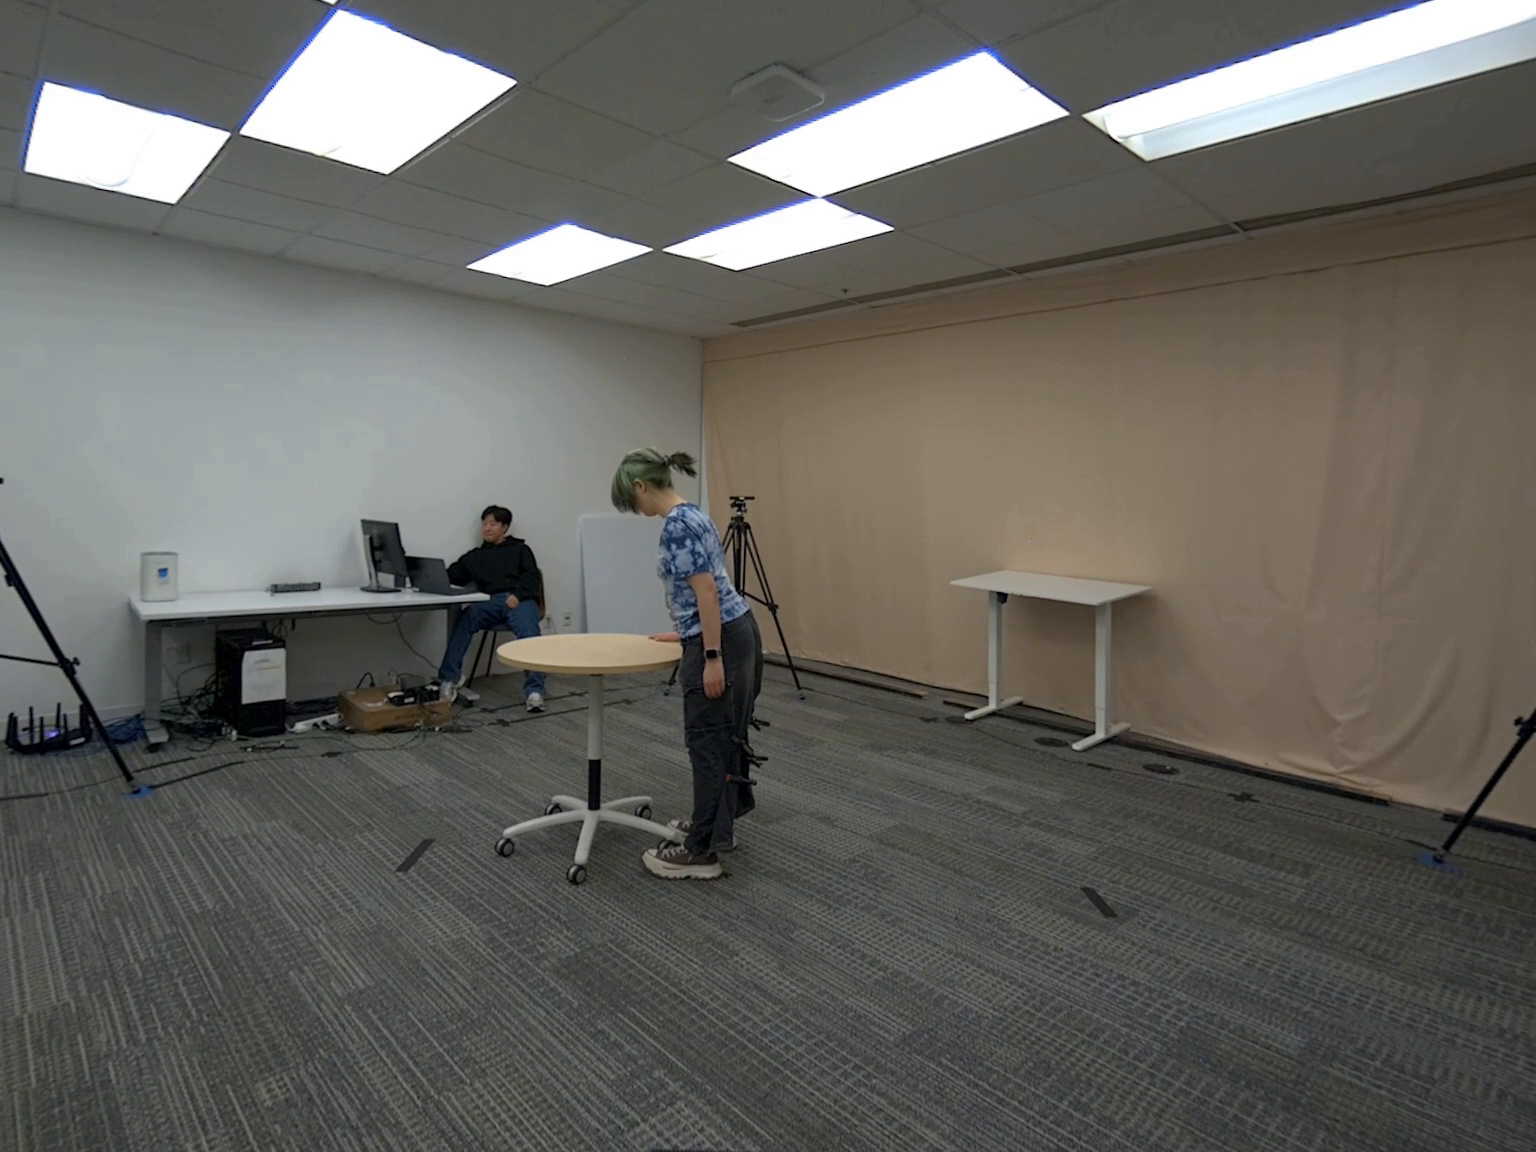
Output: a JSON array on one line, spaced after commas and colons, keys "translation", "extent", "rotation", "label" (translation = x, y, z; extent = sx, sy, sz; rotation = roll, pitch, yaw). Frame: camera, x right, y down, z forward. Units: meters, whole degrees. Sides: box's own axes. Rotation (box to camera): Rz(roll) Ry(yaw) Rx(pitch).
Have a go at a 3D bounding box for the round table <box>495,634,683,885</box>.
[{"translation": [-0.679, 0.674, 3.350], "extent": [0.784, 0.784, 0.788], "rotation": [1, 4, -1], "label": "round table"}]
